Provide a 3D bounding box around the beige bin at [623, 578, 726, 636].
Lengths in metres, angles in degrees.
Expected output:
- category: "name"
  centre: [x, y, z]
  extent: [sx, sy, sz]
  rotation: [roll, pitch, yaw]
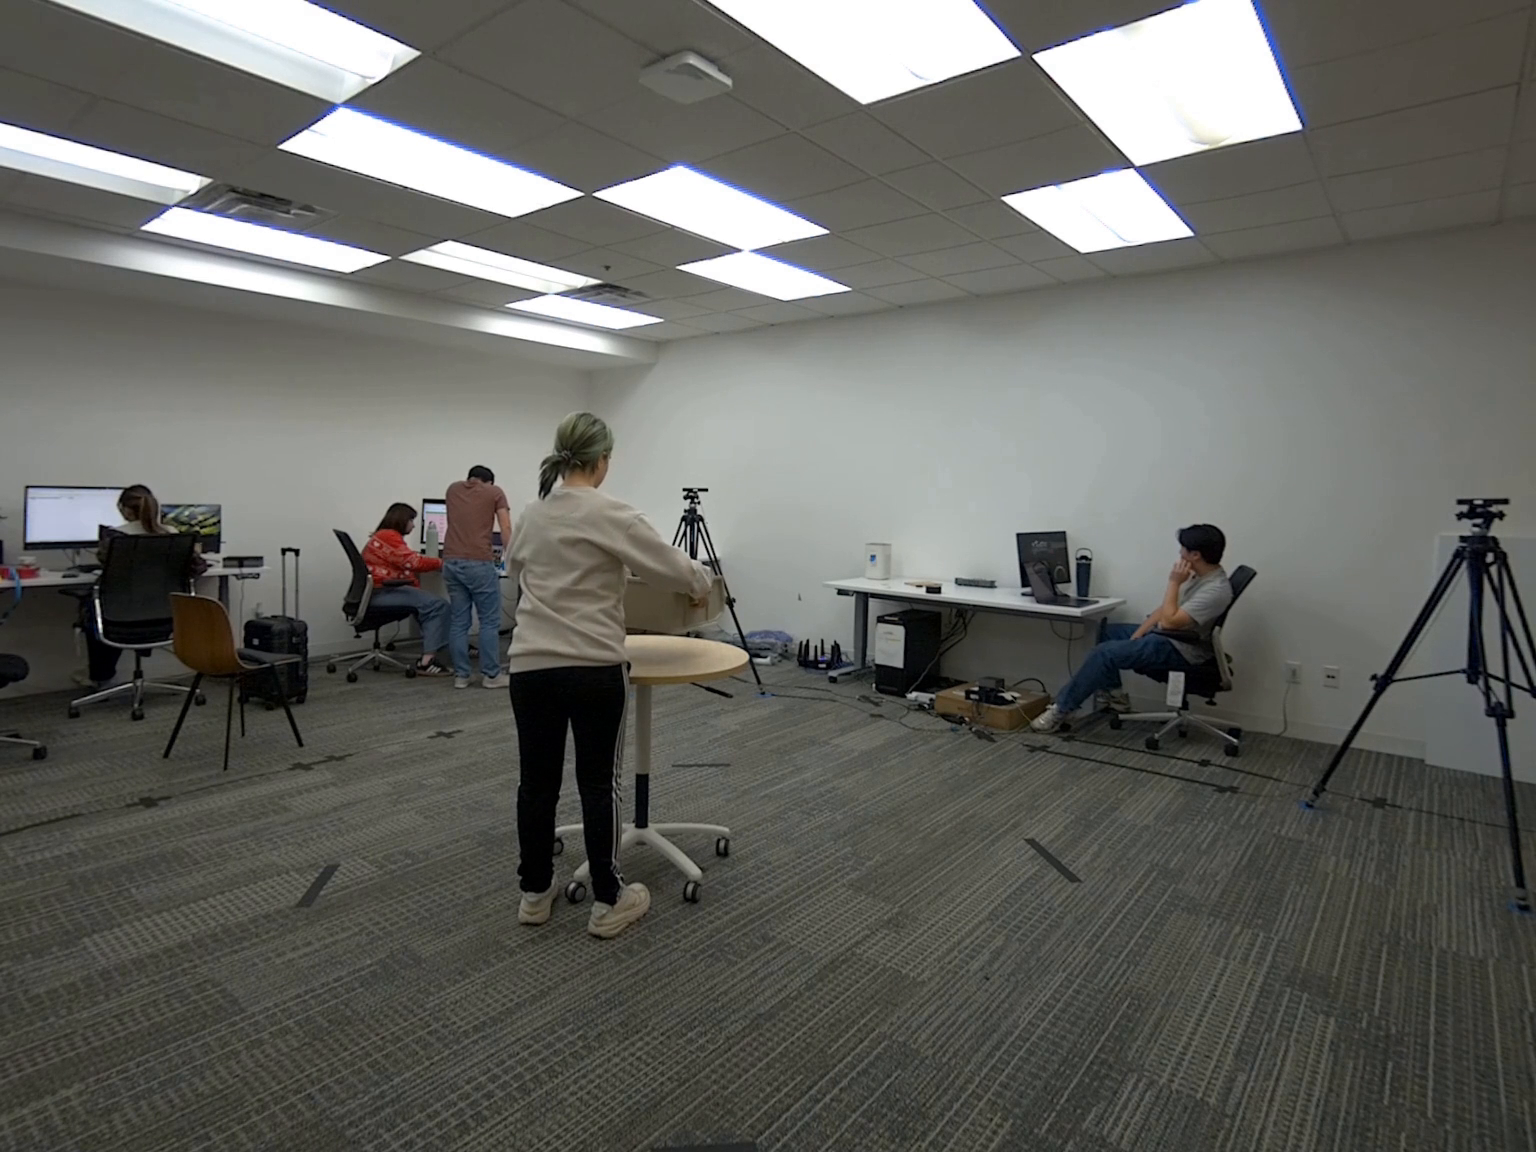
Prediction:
- category: "beige bin"
  centre: [-0.435, 0.077, 3.077]
  extent: [0.434, 0.188, 0.369]
  rotation: [5, 8, 26]
